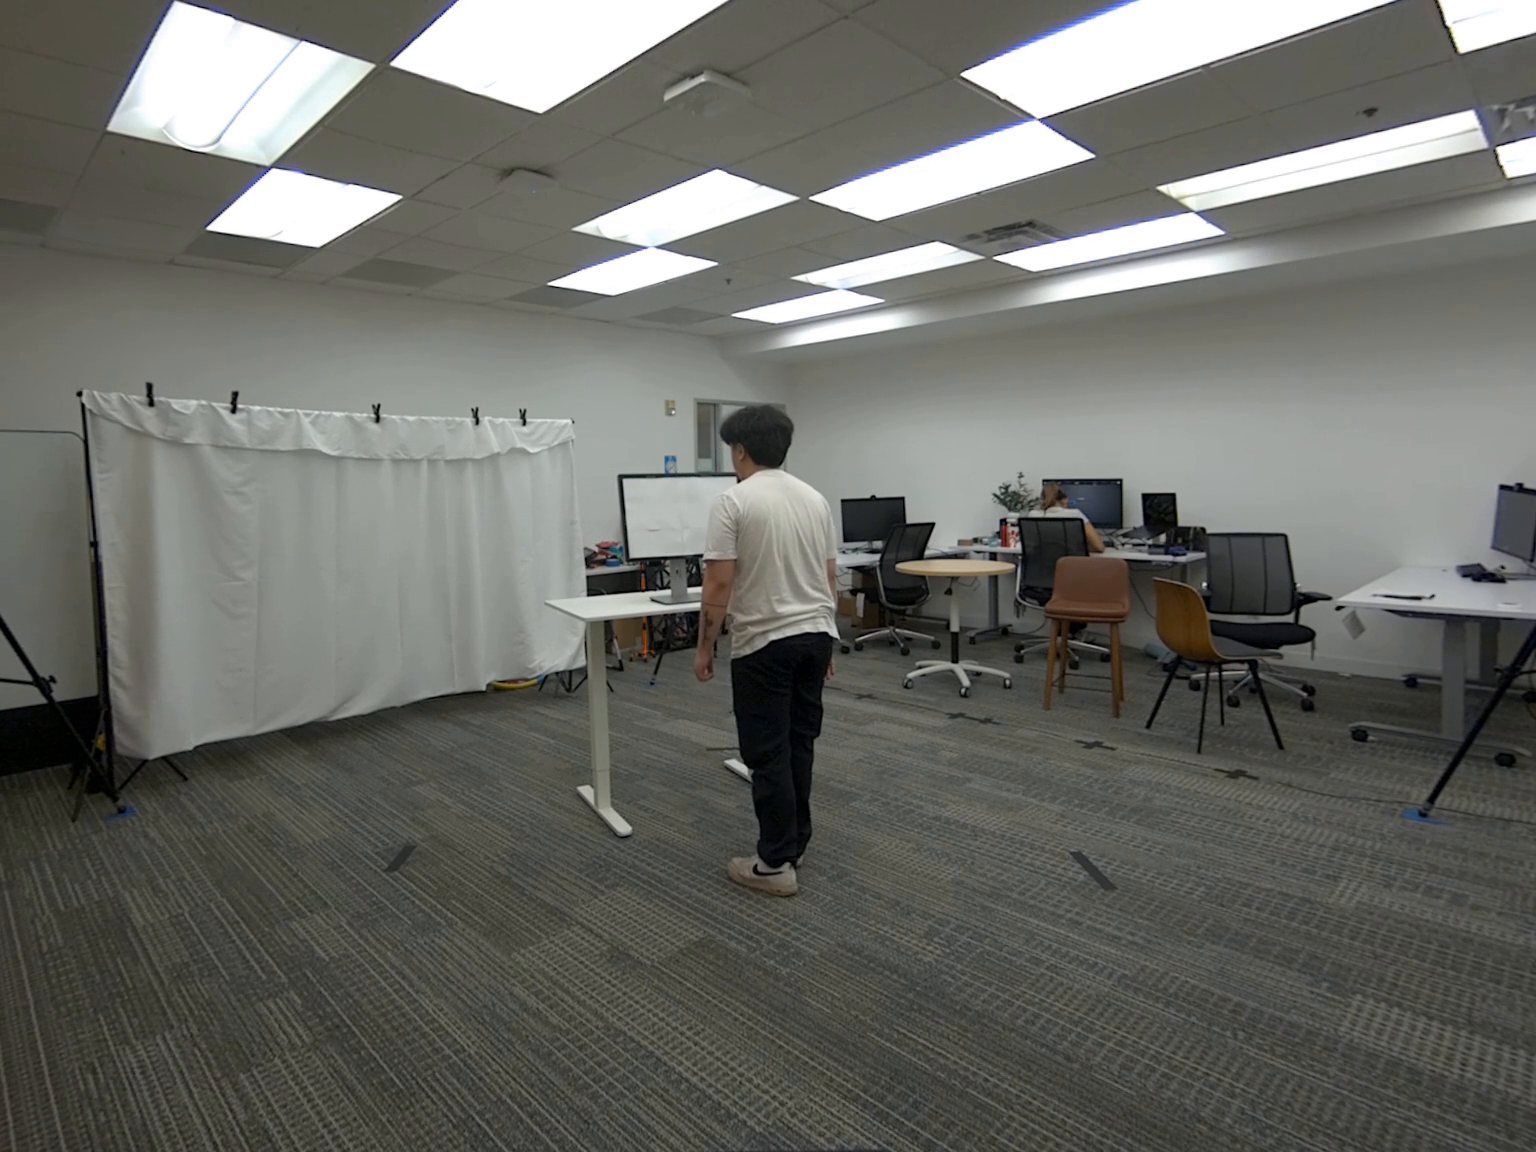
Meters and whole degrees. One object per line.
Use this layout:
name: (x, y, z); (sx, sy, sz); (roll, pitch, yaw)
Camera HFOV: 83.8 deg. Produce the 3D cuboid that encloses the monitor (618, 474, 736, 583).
monitor: (-0.382, -0.163, 3.656); (0.553, 0.554, 0.215); (-4, 0, -27)
